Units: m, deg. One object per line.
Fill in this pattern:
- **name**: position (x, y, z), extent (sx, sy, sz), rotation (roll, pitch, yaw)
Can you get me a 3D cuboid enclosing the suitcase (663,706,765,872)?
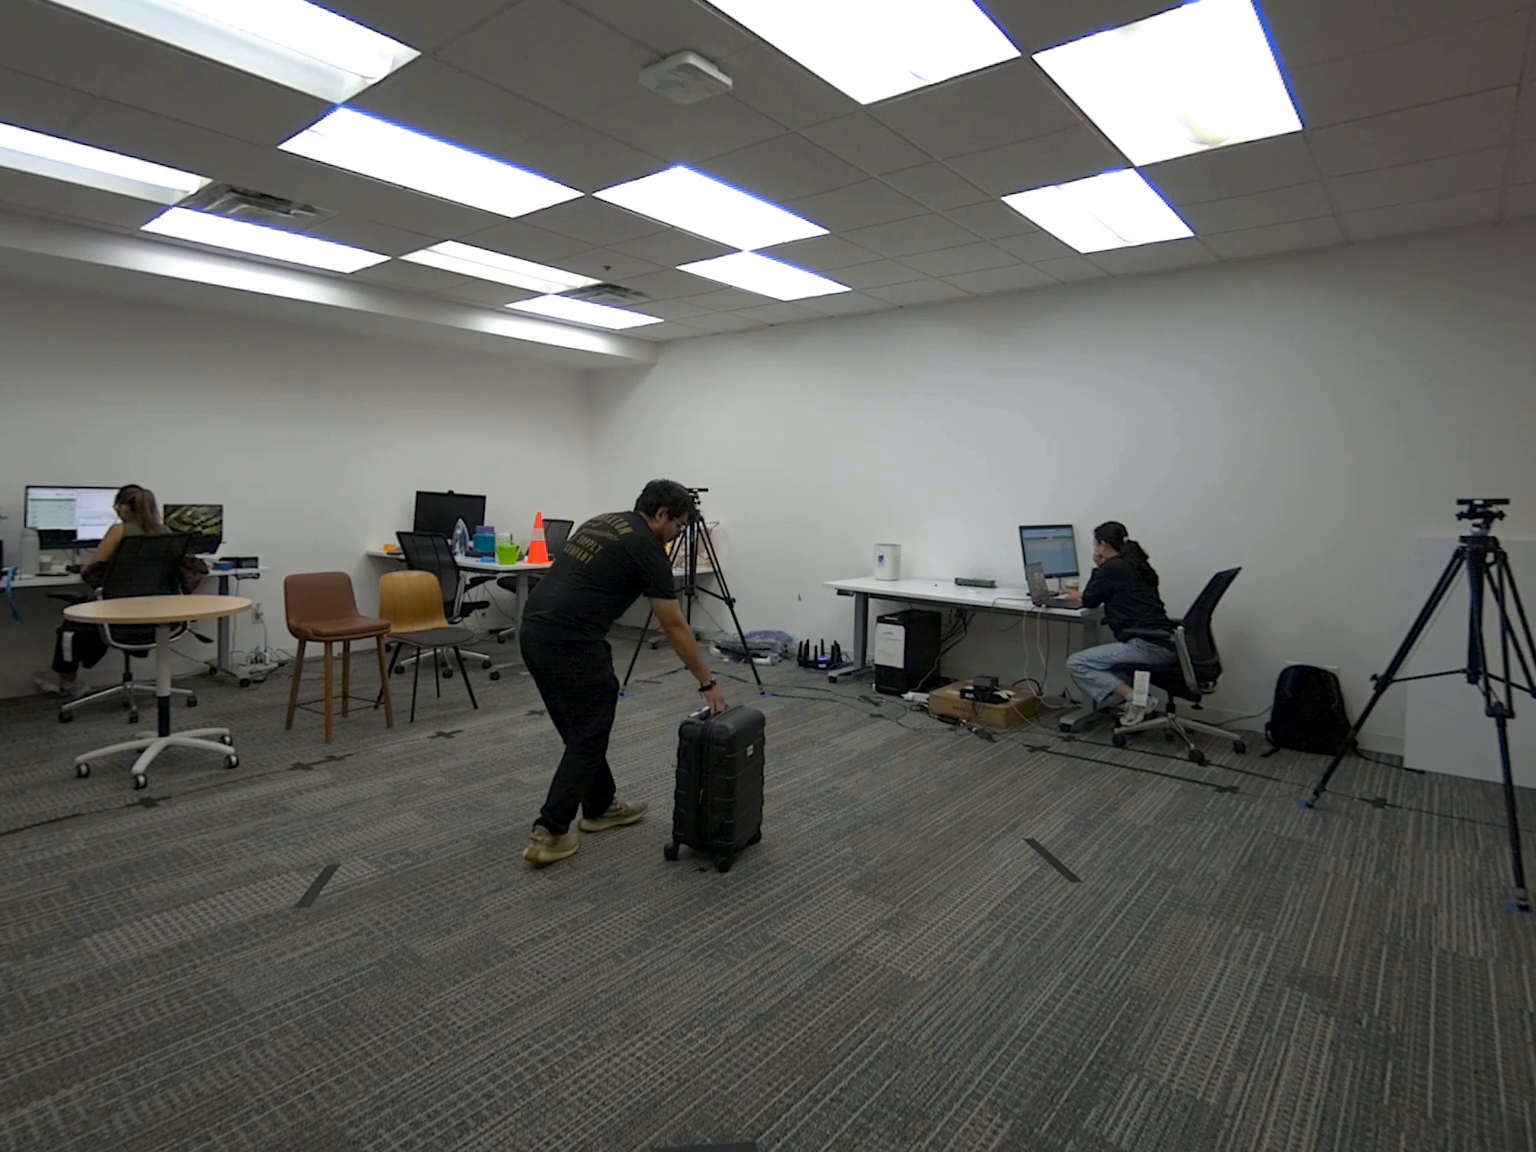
- **suitcase**: position (-0.195, 0.781, 3.267), extent (0.255, 0.548, 0.367), rotation (5, 4, 24)
